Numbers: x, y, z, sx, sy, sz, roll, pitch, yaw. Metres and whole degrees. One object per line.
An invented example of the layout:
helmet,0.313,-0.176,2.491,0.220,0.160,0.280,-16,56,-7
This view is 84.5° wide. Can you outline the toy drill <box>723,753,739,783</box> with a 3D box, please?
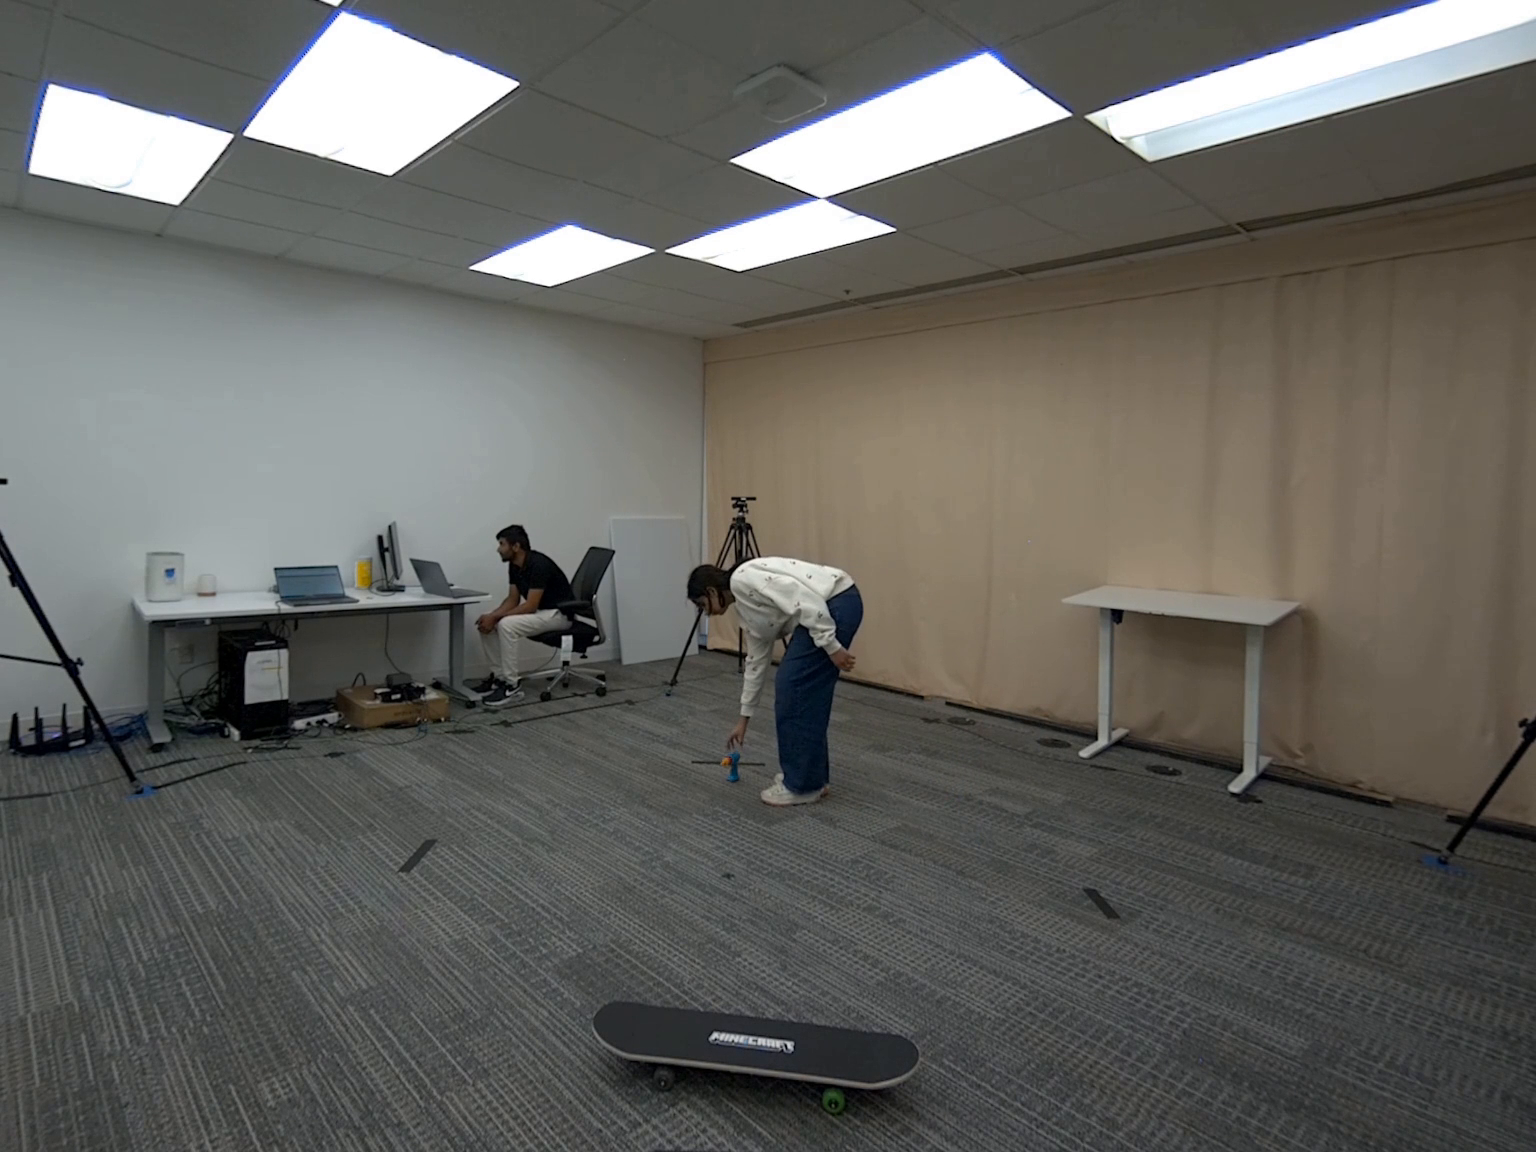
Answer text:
toy drill,-0.191,0.938,4.146,0.062,0.145,0.167,3,5,27
